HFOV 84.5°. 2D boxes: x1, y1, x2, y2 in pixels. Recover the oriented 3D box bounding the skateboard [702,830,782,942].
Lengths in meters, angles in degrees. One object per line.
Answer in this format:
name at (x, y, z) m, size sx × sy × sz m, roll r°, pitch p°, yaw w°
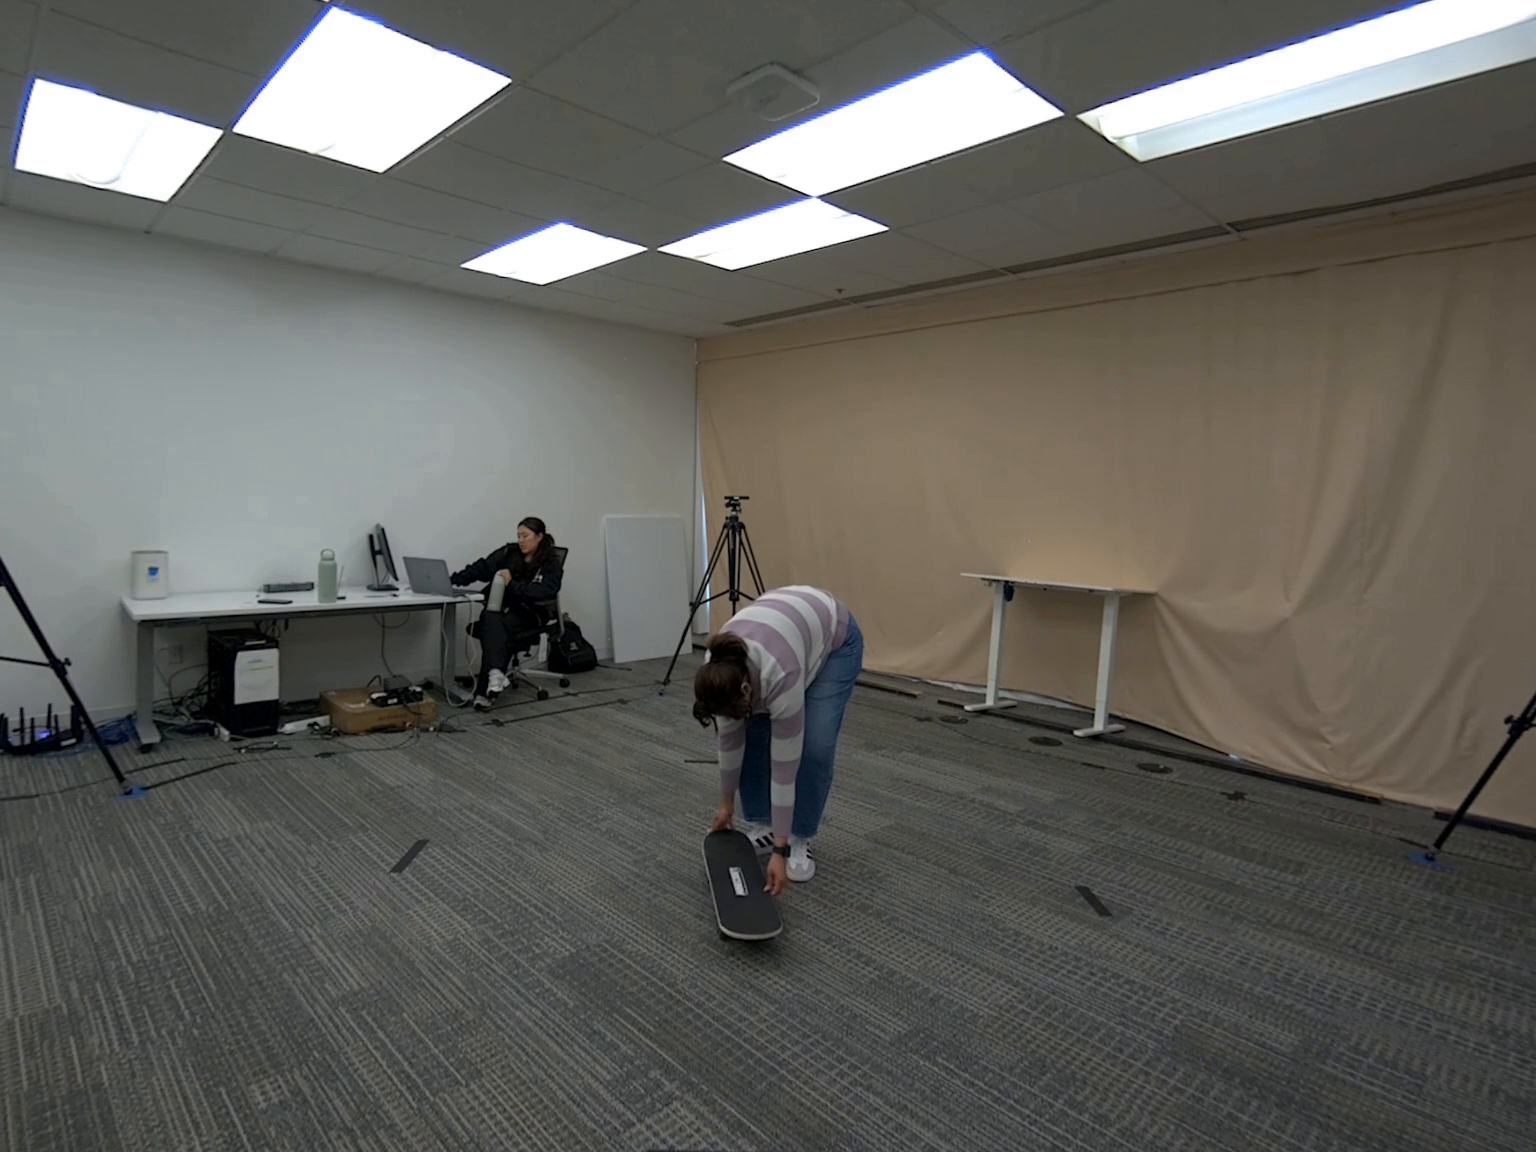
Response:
skateboard at (-0.109, 1.069, 2.855) m, size 0.192 × 0.110 × 0.794 m, roll -1°, pitch 5°, yaw -11°
